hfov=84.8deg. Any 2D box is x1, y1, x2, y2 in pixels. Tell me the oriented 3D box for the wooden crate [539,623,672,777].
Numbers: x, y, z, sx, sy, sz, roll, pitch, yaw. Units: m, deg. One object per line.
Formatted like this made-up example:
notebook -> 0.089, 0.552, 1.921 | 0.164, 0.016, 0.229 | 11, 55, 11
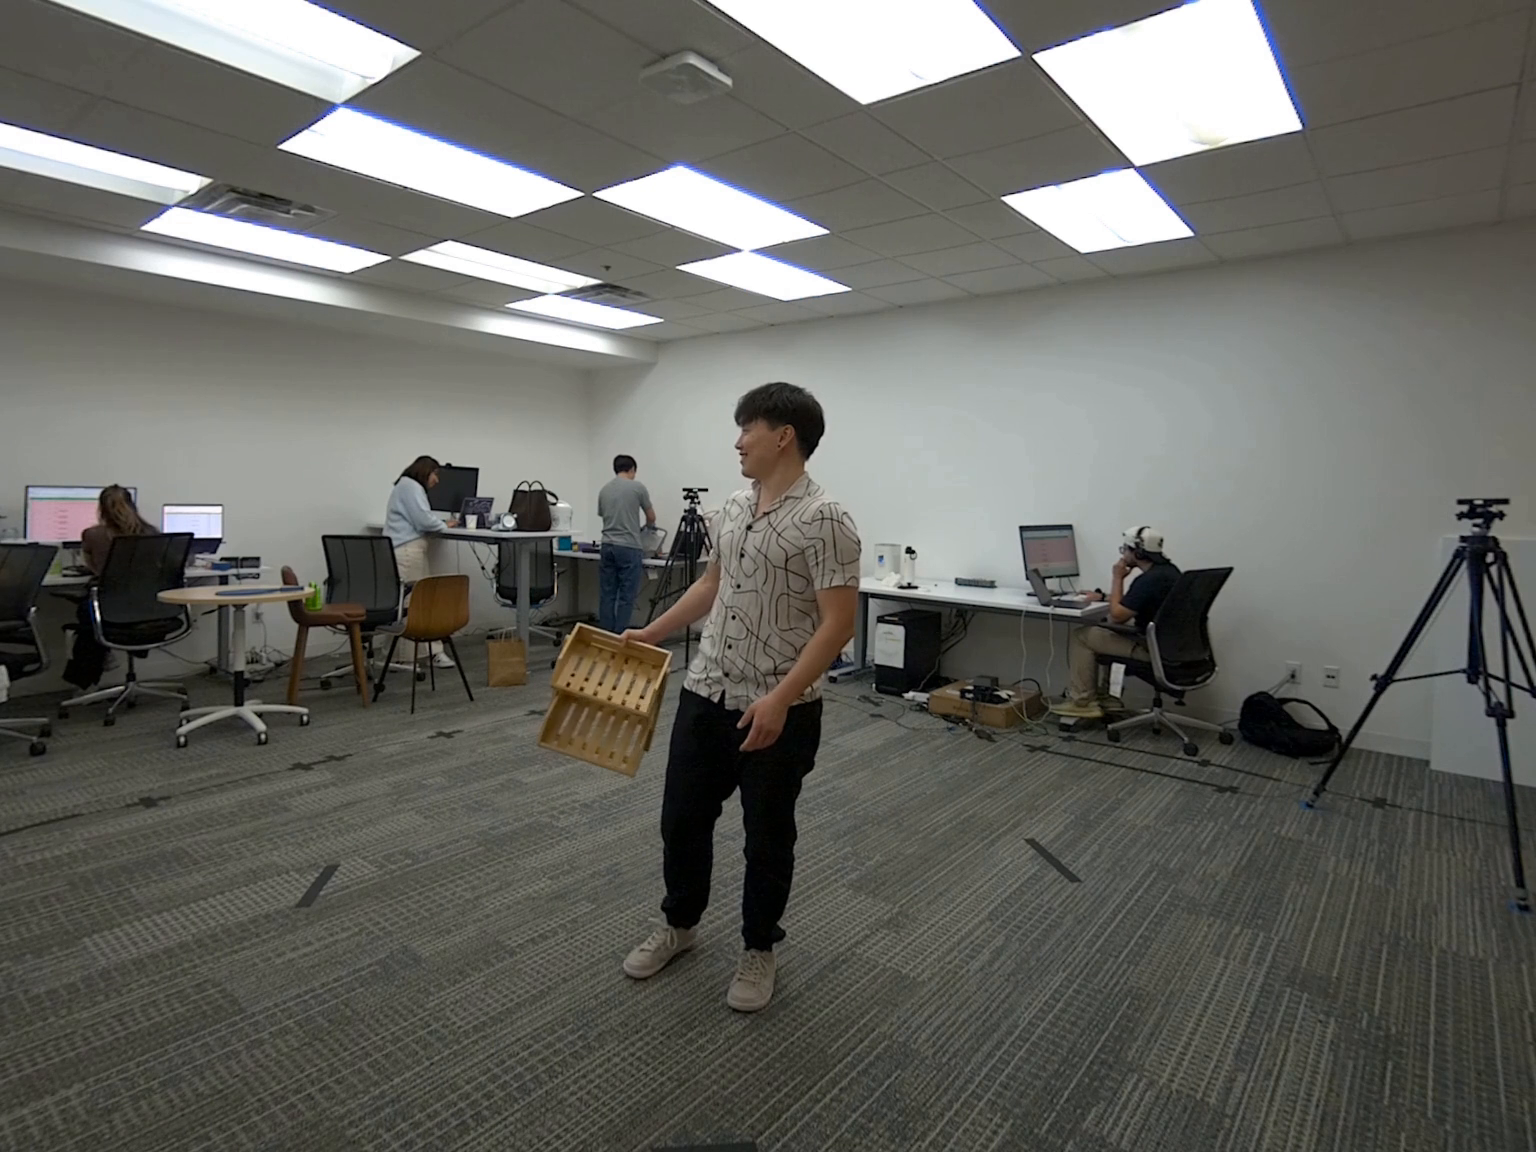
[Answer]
wooden crate -> -0.476, 0.365, 2.506 | 0.326, 0.267, 0.307 | 14, 44, 3
